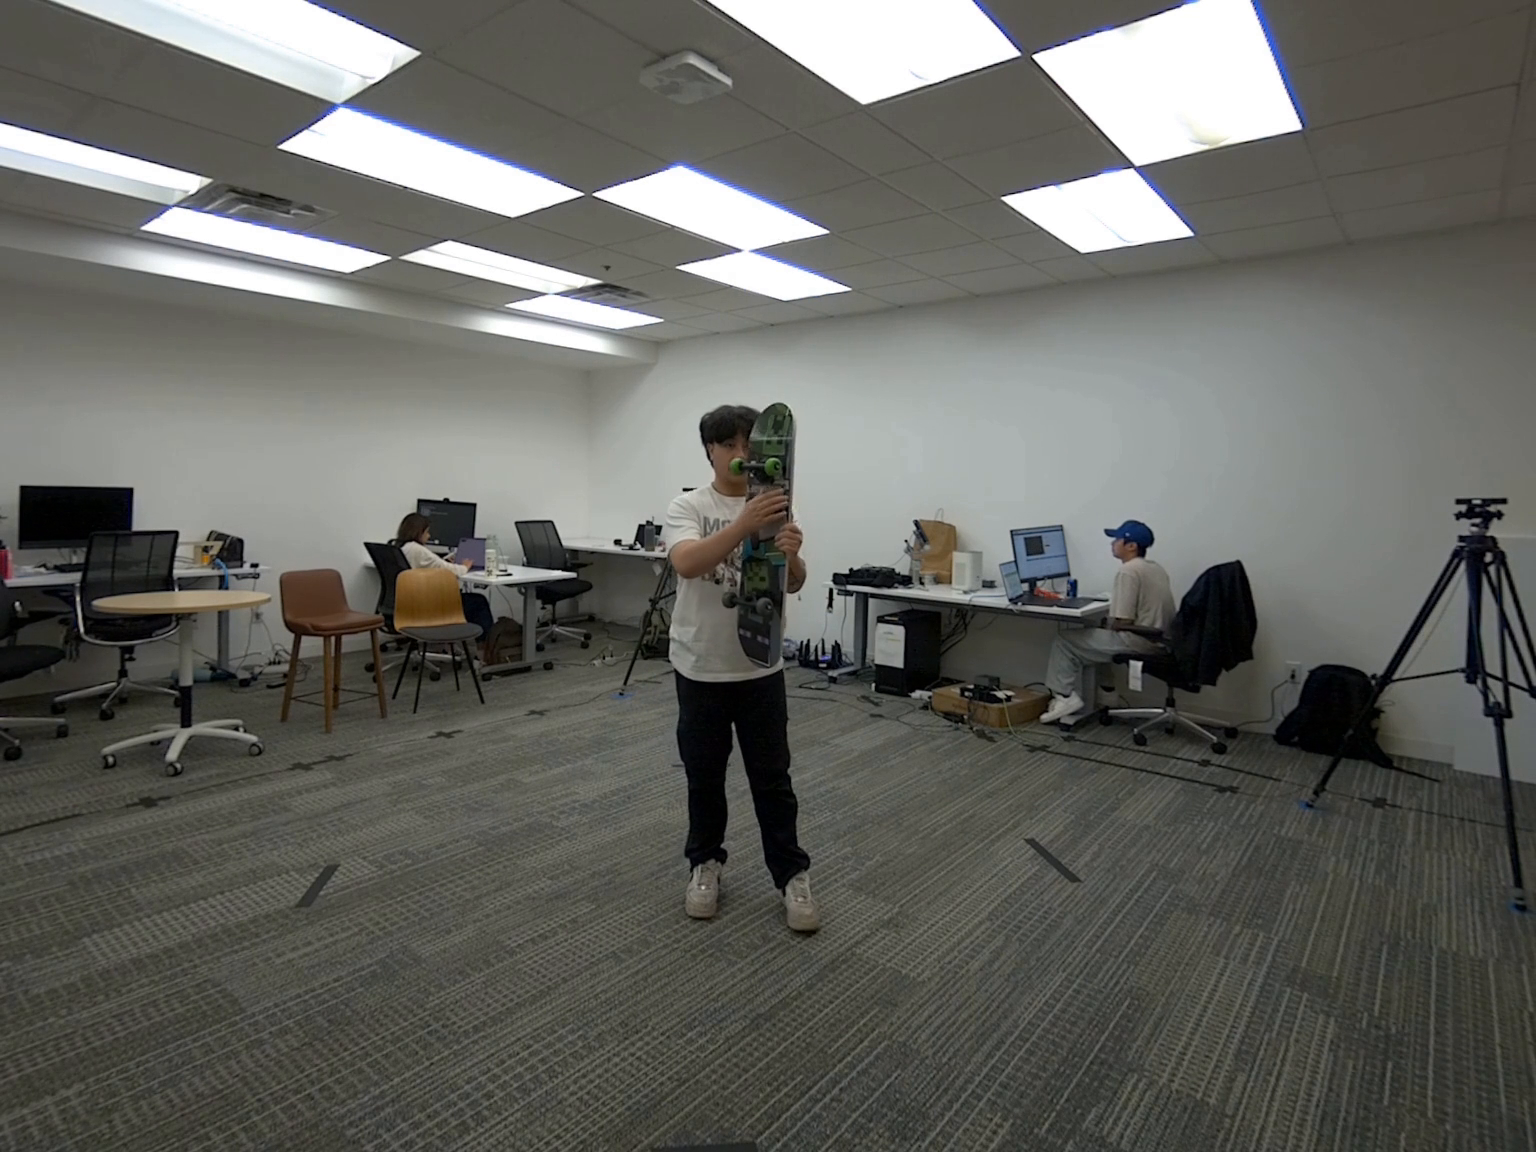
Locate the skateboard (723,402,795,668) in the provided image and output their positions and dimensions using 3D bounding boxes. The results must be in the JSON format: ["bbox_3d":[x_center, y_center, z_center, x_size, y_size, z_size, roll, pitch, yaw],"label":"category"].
[{"bbox_3d":[-0.038,-0.121,2.499,0.107,0.784,0.200,2,2,-42],"label":"skateboard"}]
